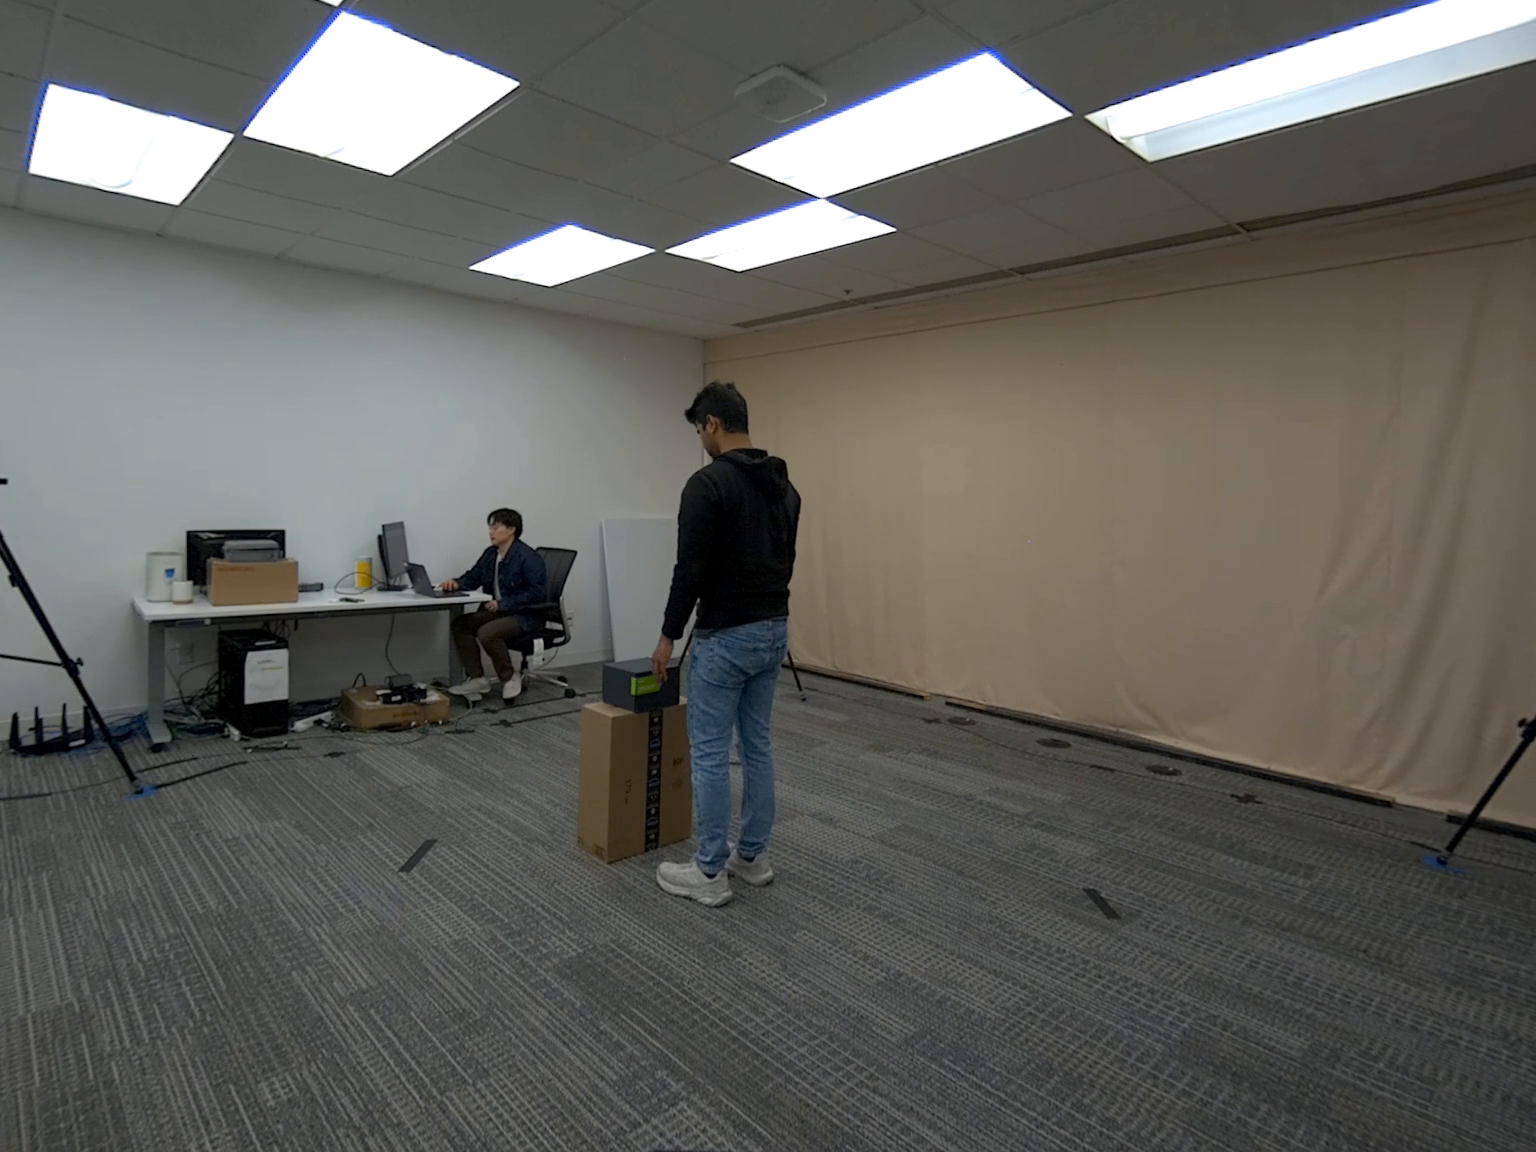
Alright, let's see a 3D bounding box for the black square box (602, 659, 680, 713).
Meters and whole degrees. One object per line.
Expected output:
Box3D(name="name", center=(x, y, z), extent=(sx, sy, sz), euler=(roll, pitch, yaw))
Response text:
Box3D(name="black square box", center=(-0.513, 0.429, 3.363), extent=(0.222, 0.155, 0.223), euler=(6, 7, 43))
